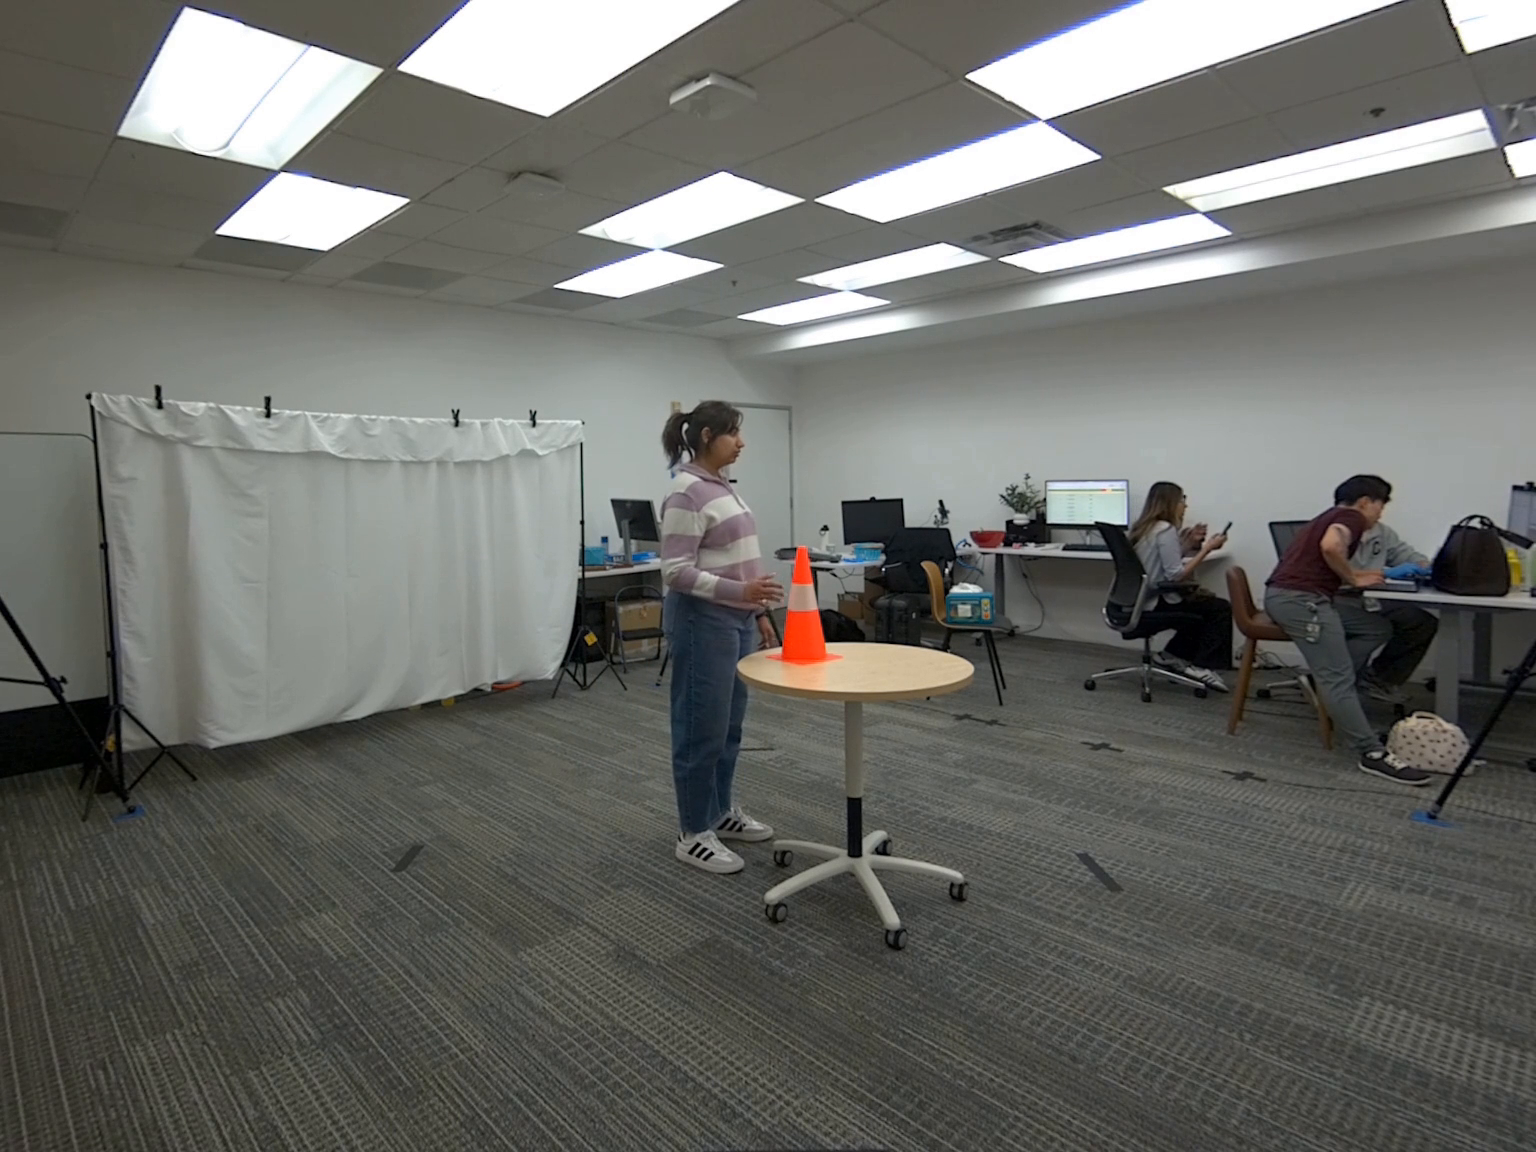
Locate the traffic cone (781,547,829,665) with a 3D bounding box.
[{"bbox_3d":[0.122,0.094,2.932,0.211,0.383,0.198,1,2,42],"label":"traffic cone"}]
